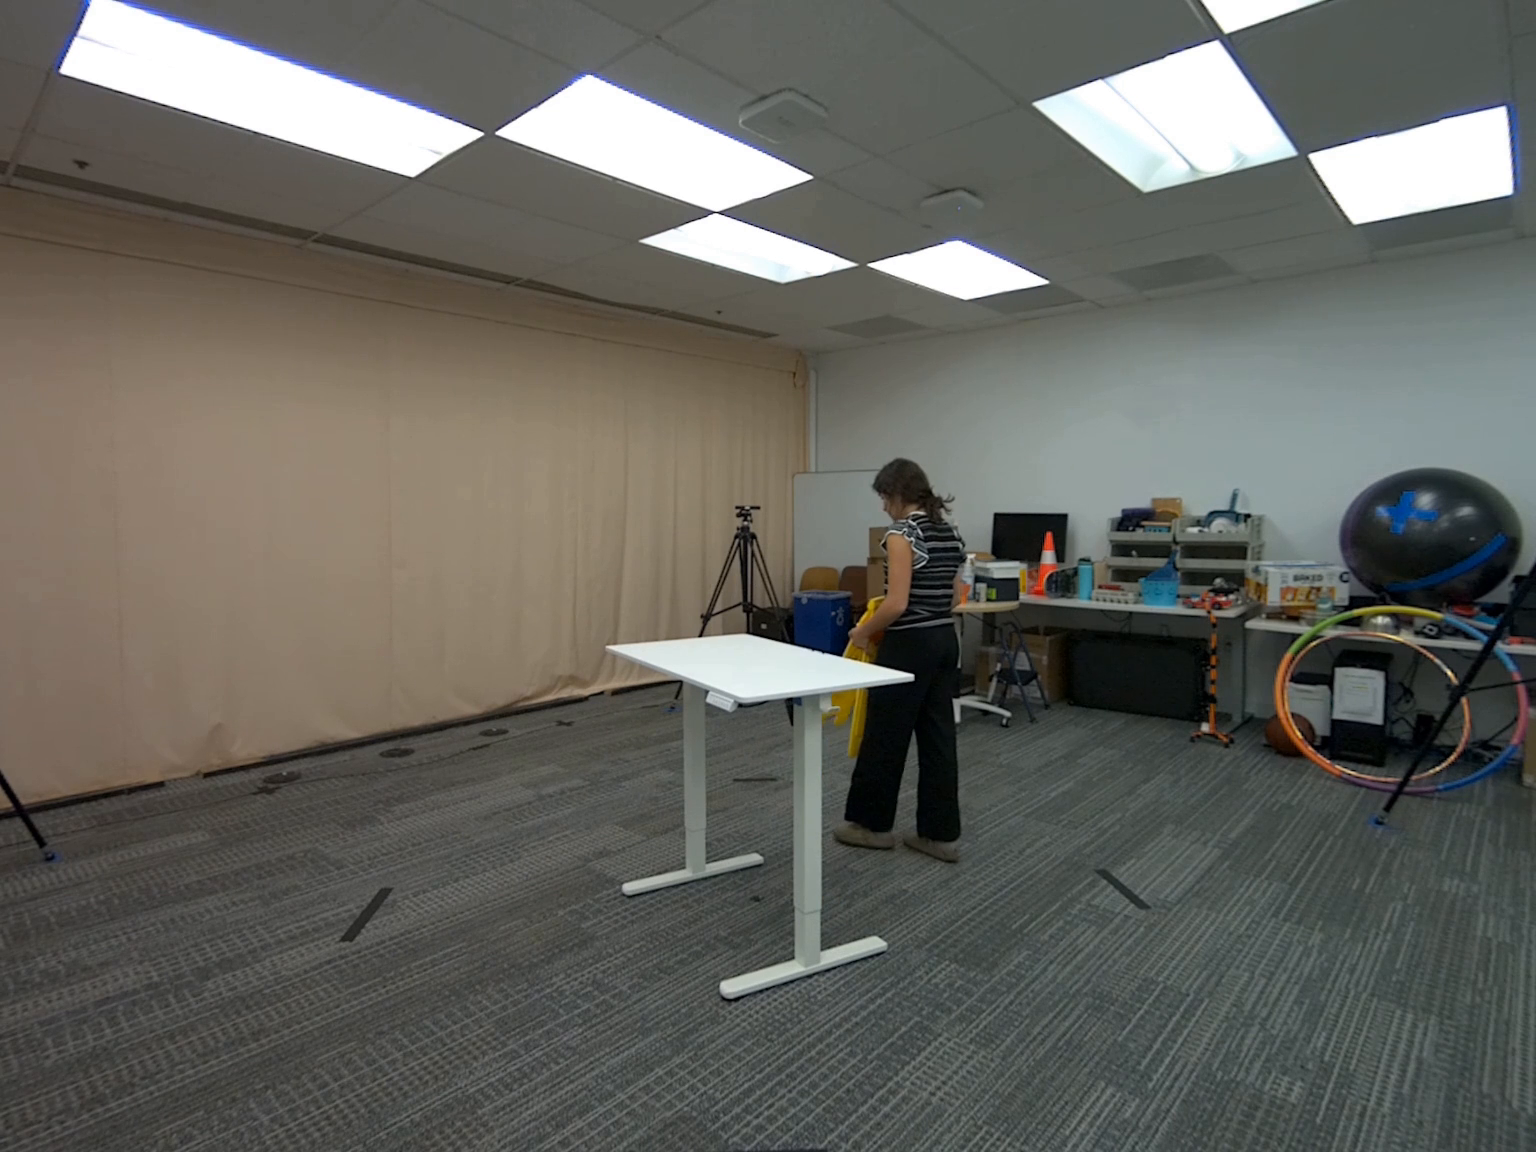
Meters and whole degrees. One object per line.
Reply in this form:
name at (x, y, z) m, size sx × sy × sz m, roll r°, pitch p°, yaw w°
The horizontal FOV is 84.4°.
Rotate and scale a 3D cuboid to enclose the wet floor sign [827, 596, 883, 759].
wet floor sign at (0.417, 0.404, 3.554) m, size 0.300 × 0.643 × 0.273 m, roll 20°, pitch 15°, yaw 39°
